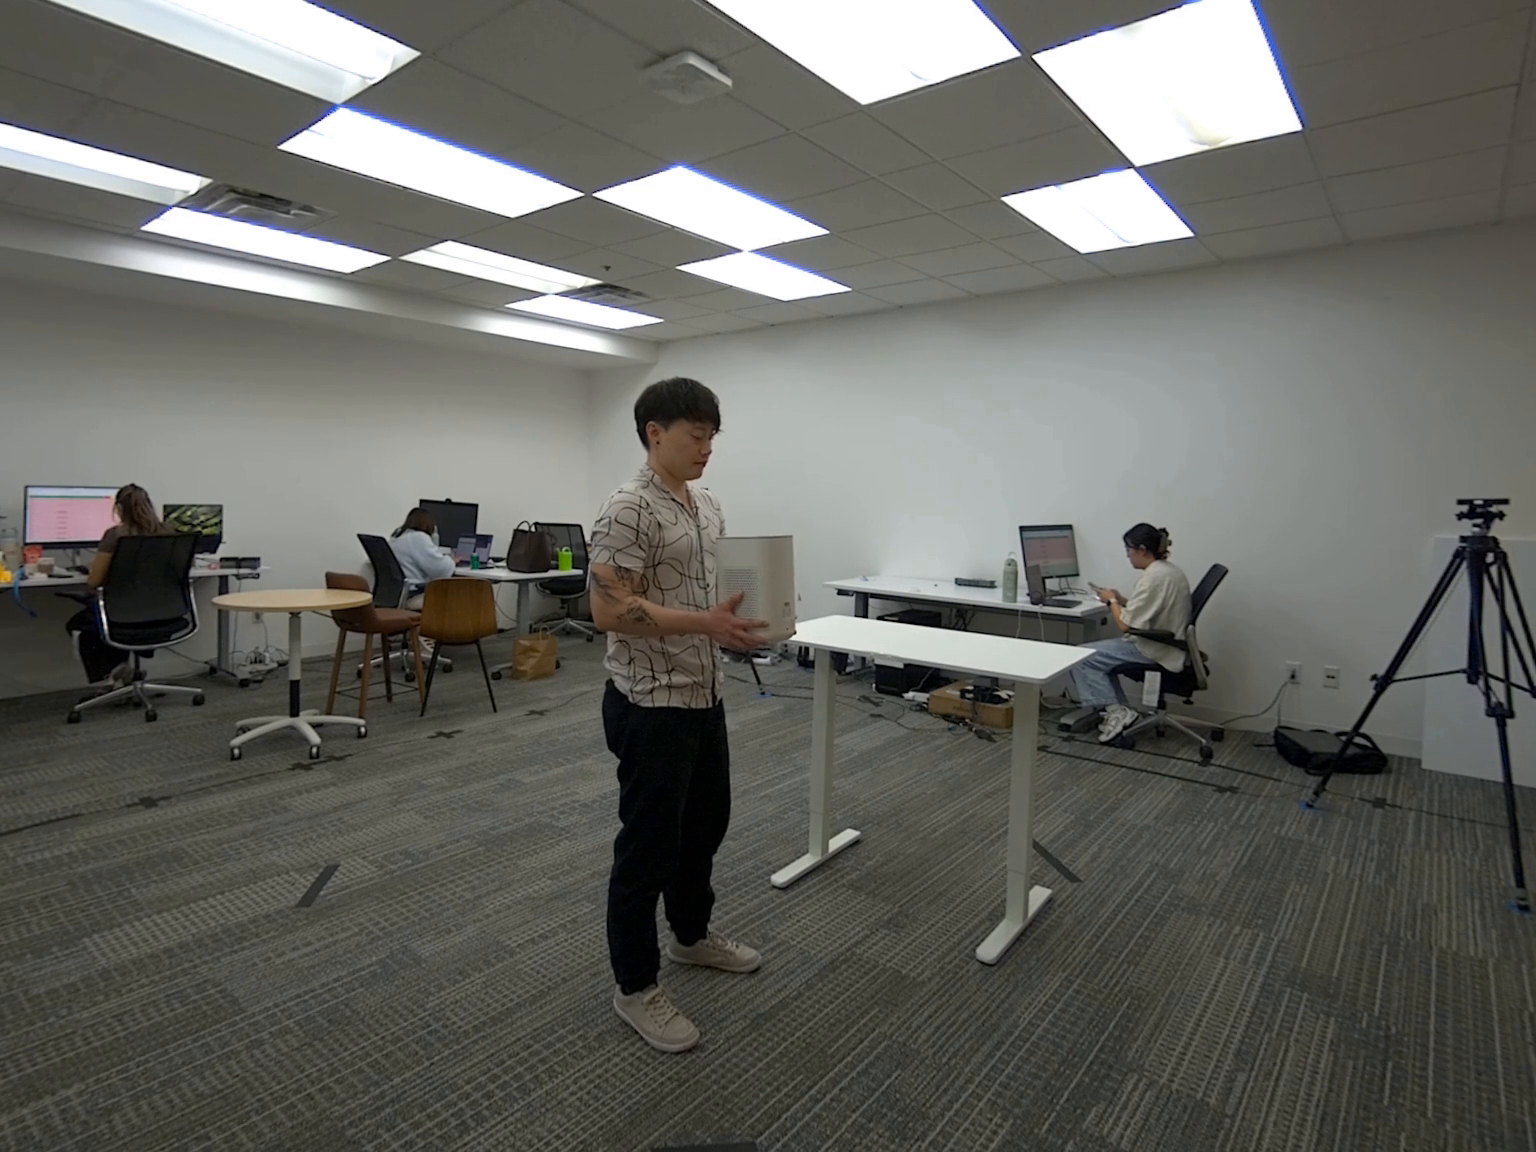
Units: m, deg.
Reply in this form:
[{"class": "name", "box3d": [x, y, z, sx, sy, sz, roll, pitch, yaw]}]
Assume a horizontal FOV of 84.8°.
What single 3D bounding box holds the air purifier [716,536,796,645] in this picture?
[{"class": "air purifier", "box3d": [-0.038, 0.033, 2.129, 0.176, 0.265, 0.166, 0, 1, 29]}]
